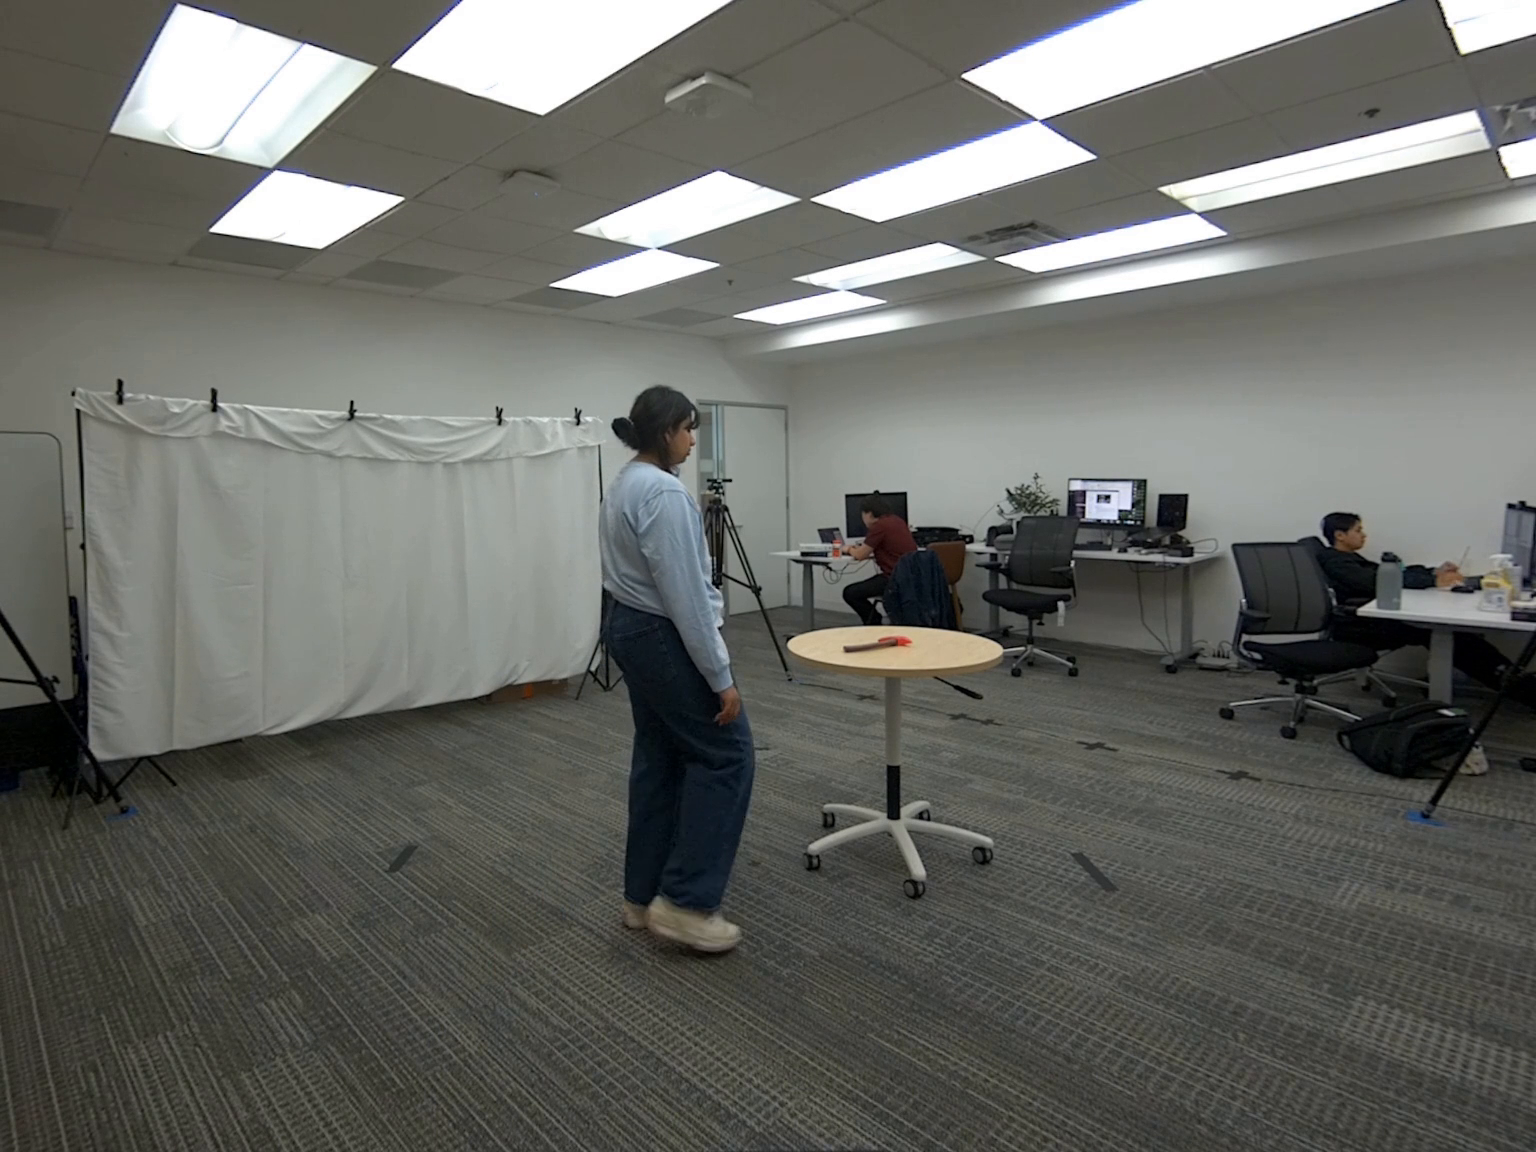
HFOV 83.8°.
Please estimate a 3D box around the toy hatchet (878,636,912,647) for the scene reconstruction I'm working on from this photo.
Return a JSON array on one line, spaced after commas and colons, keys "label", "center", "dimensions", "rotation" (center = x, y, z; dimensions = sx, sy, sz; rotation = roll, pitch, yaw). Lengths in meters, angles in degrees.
[{"label": "toy hatchet", "center": [0.383, 0.243, 3.085], "dimensions": [0.266, 0.029, 0.134], "rotation": [-4, 7, -19]}]
